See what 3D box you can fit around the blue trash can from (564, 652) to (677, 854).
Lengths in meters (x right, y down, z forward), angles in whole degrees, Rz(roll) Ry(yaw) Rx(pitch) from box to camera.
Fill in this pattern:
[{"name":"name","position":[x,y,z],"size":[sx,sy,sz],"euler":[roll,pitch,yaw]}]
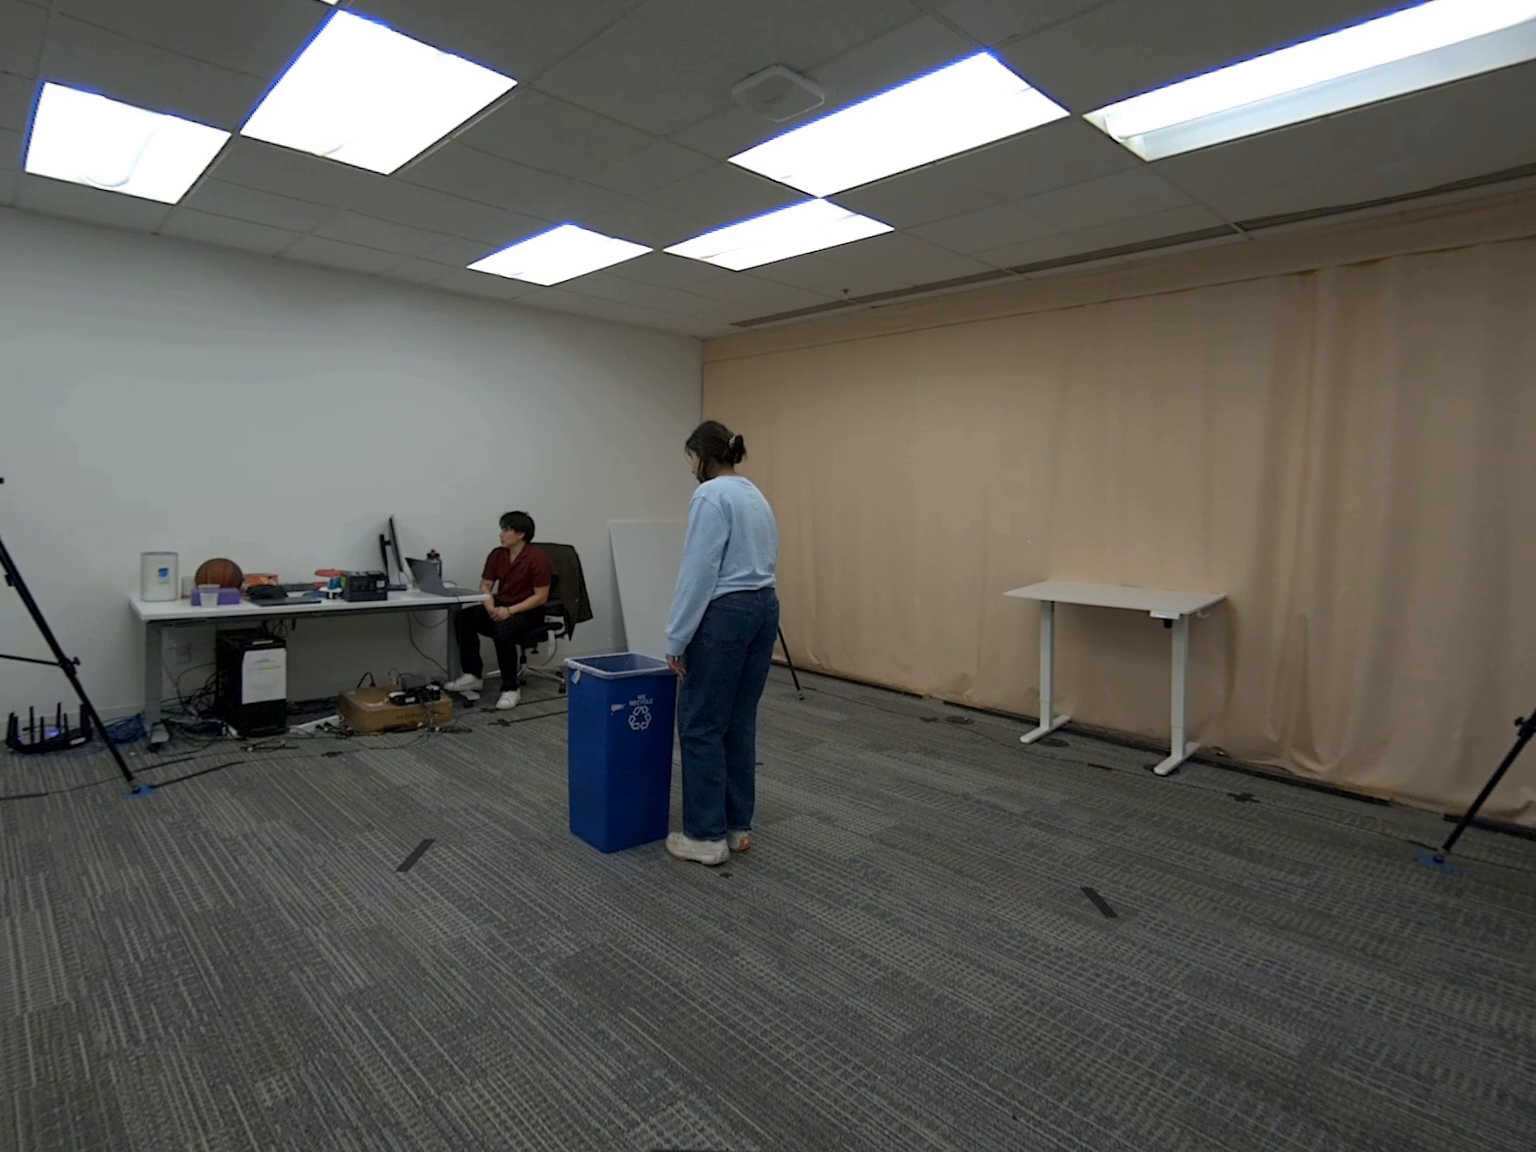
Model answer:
[{"name":"blue trash can","position":[-0.606,0.703,3.455],"size":[0.365,0.712,0.388],"euler":[-1,4,-41]}]
